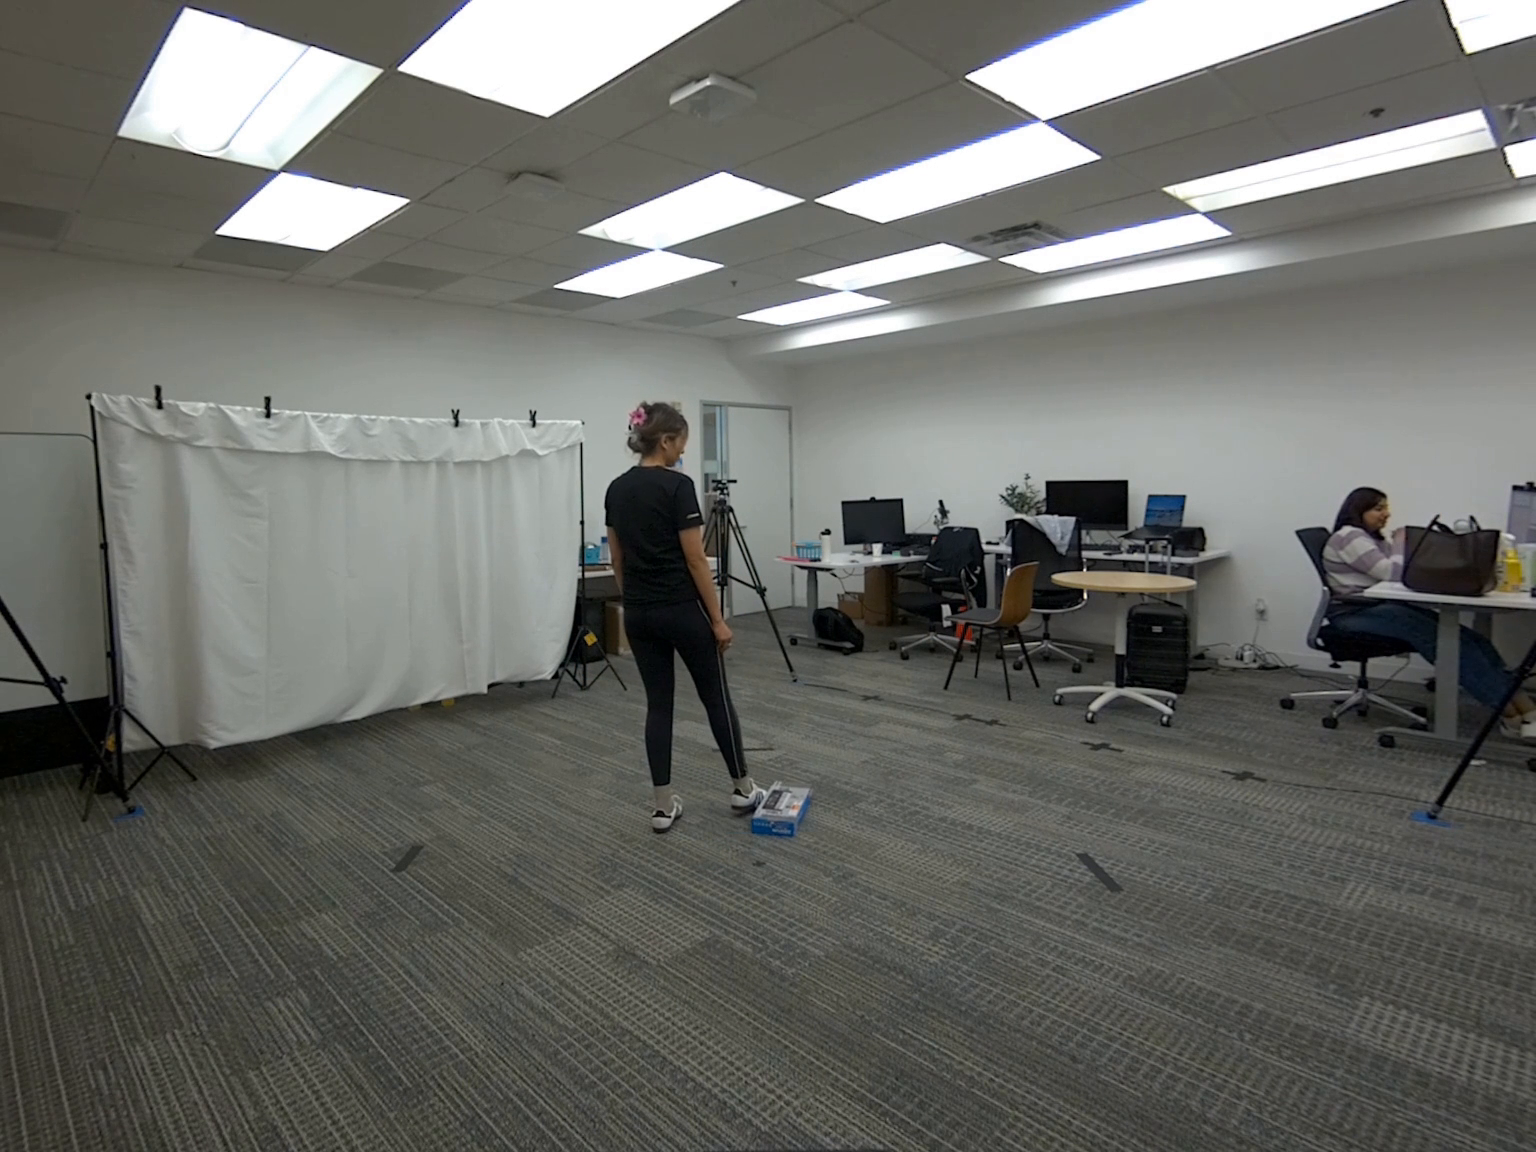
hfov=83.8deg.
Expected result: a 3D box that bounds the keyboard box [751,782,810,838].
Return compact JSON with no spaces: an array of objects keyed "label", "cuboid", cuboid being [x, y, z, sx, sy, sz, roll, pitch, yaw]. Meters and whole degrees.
[{"label":"keyboard box","cuboid":[0.065,0.962,3.561,0.178,0.059,0.432,1,7,14]}]
